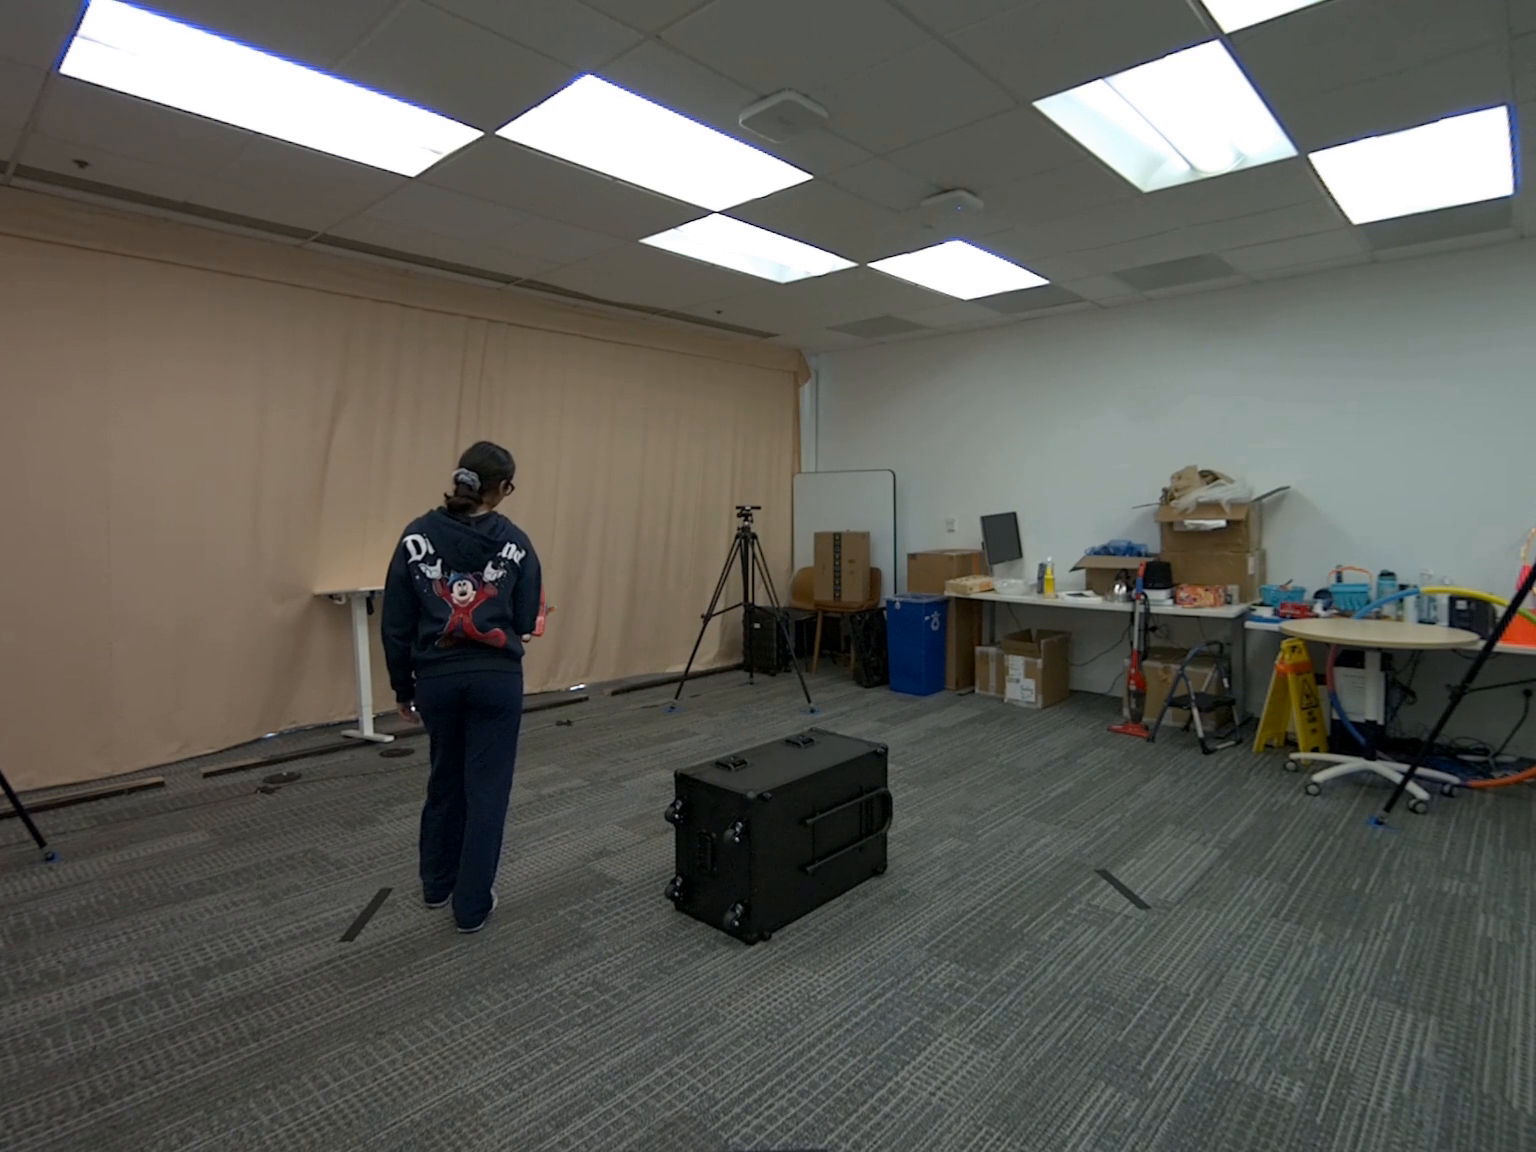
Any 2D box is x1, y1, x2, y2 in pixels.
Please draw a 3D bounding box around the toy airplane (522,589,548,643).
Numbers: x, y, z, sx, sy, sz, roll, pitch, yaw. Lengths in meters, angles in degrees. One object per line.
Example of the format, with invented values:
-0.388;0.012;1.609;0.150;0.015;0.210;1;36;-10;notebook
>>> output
-0.952;0.150;3.240;0.159;0.251;0.255;-20;2;23;toy airplane
